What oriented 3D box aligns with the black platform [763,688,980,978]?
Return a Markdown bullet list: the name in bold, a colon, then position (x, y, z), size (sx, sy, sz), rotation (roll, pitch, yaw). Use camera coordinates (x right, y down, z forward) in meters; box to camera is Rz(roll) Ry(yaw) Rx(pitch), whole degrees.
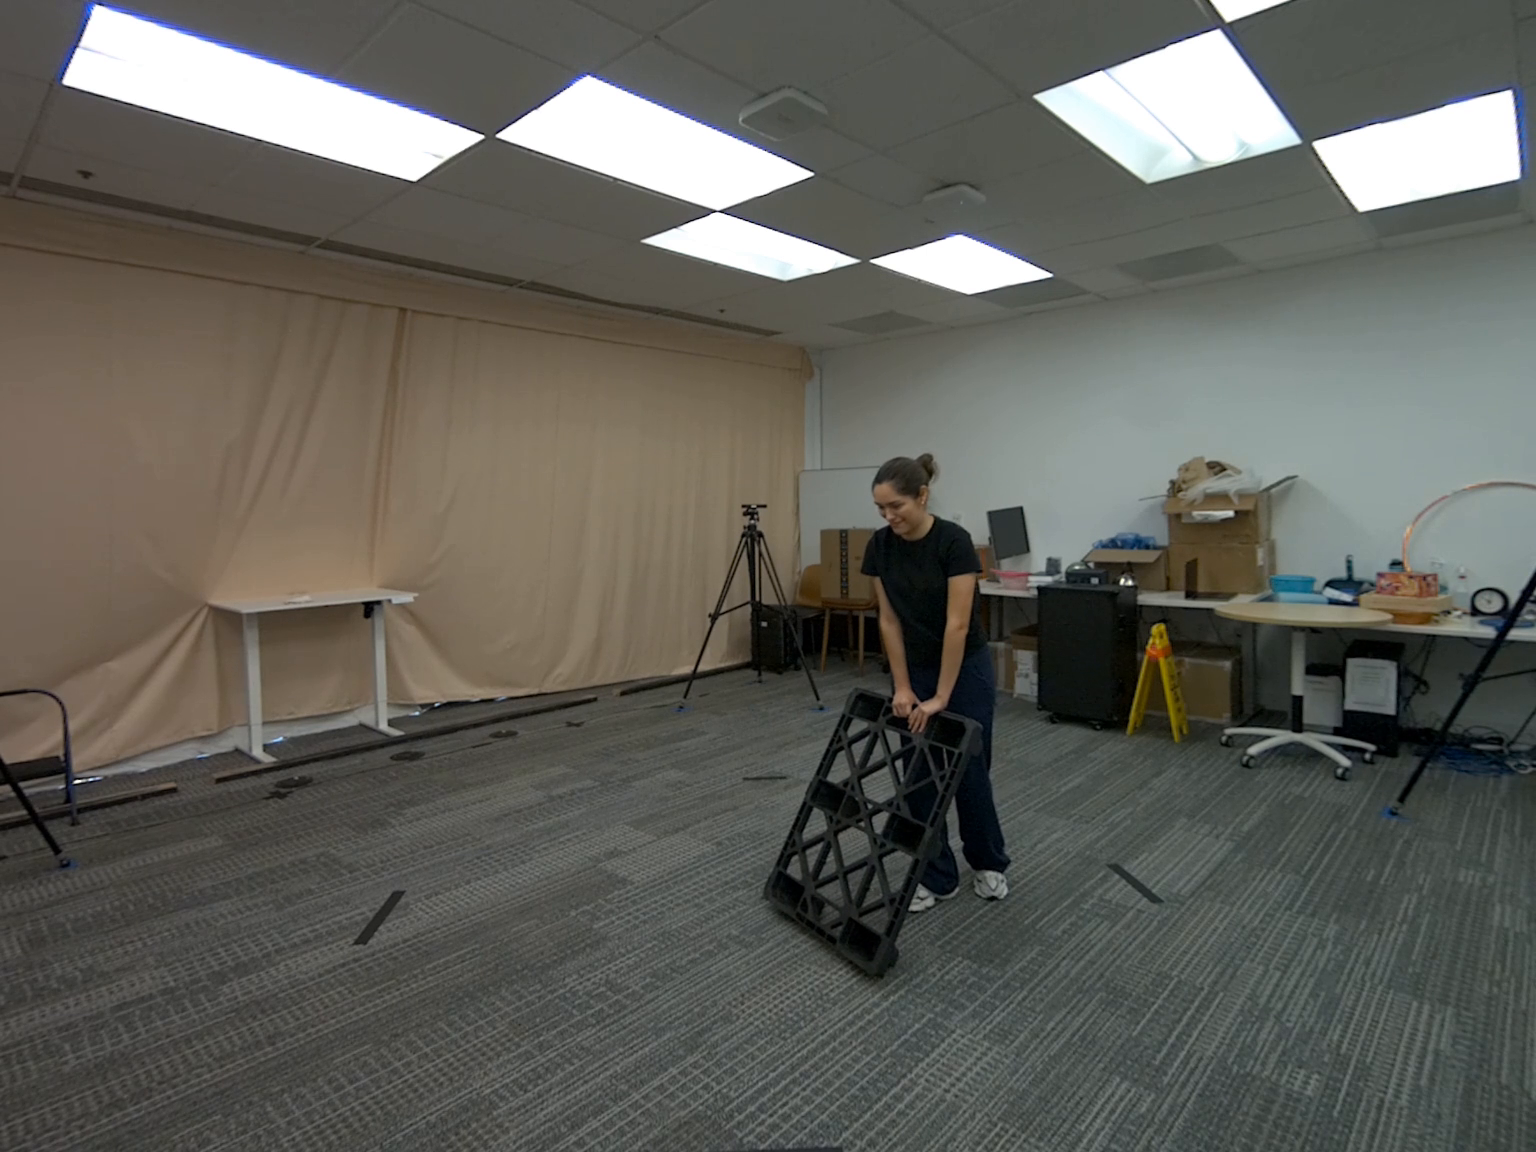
- **black platform**: position (0.371, 0.808, 2.777), size (0.139, 0.806, 0.623), rotation (33, -14, -30)
